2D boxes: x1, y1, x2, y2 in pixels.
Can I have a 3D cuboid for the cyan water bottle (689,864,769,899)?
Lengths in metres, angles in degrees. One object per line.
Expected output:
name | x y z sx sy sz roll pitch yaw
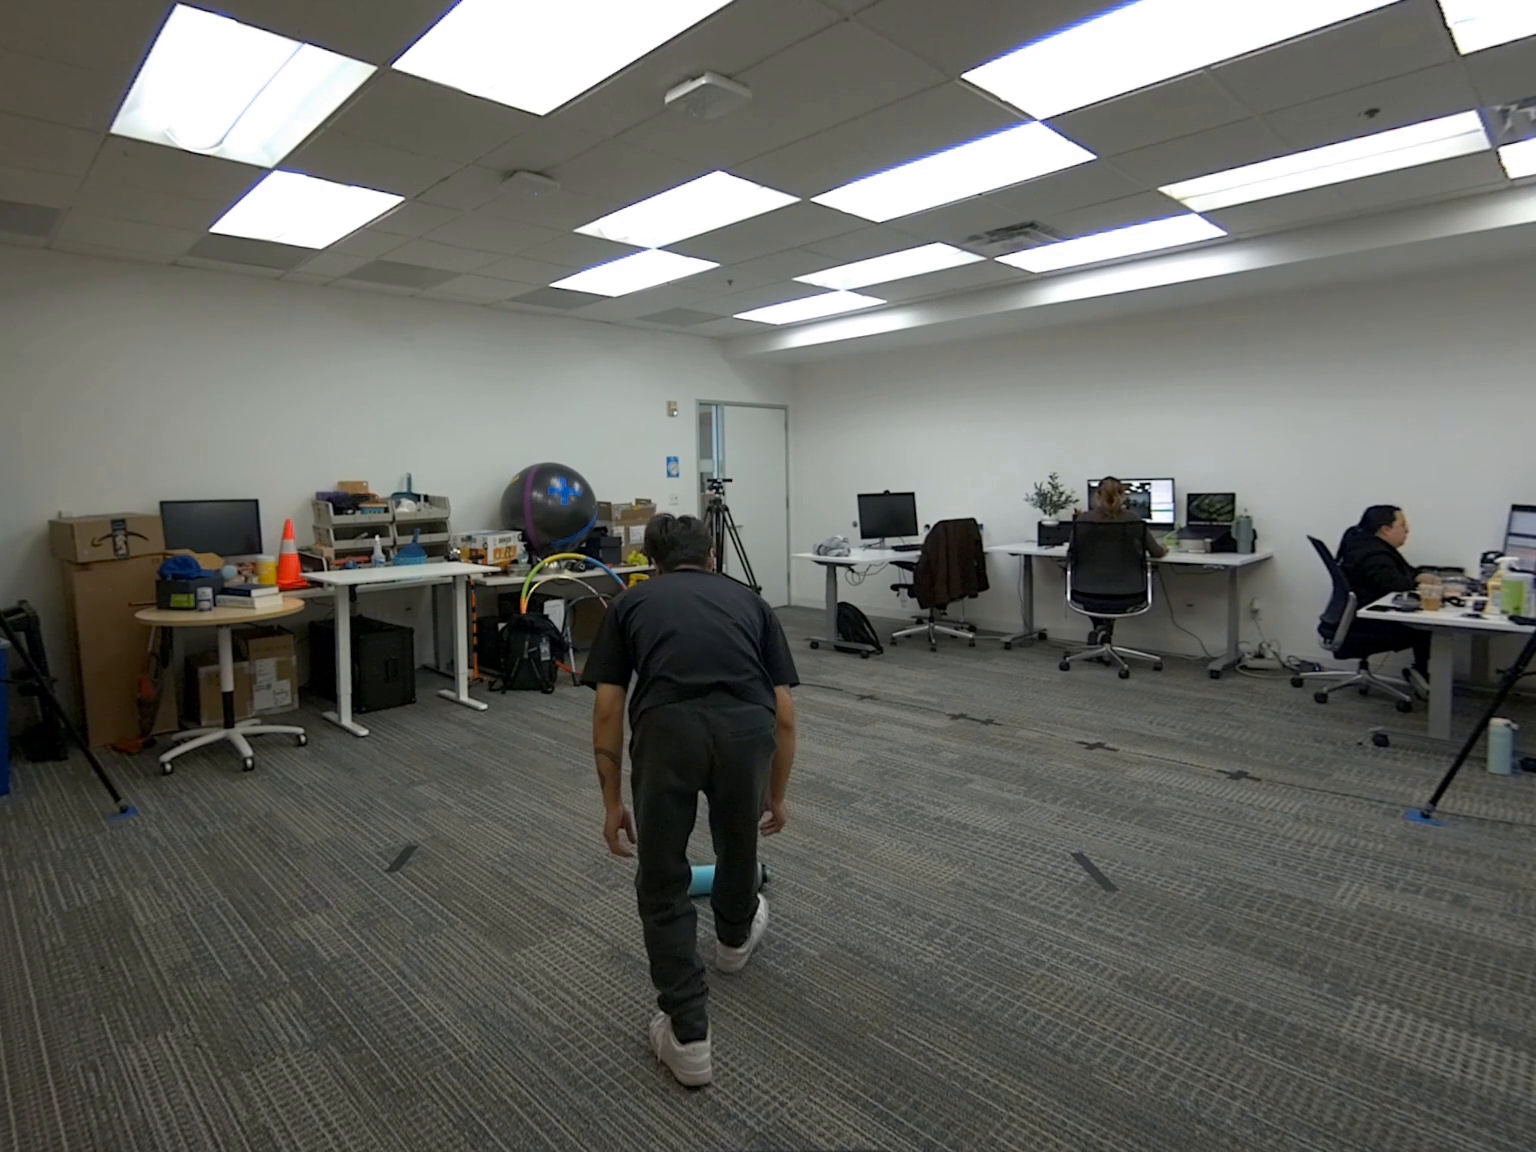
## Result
cyan water bottle | -0.128 1.022 2.904 0.281 0.092 0.093 -1 5 -9
